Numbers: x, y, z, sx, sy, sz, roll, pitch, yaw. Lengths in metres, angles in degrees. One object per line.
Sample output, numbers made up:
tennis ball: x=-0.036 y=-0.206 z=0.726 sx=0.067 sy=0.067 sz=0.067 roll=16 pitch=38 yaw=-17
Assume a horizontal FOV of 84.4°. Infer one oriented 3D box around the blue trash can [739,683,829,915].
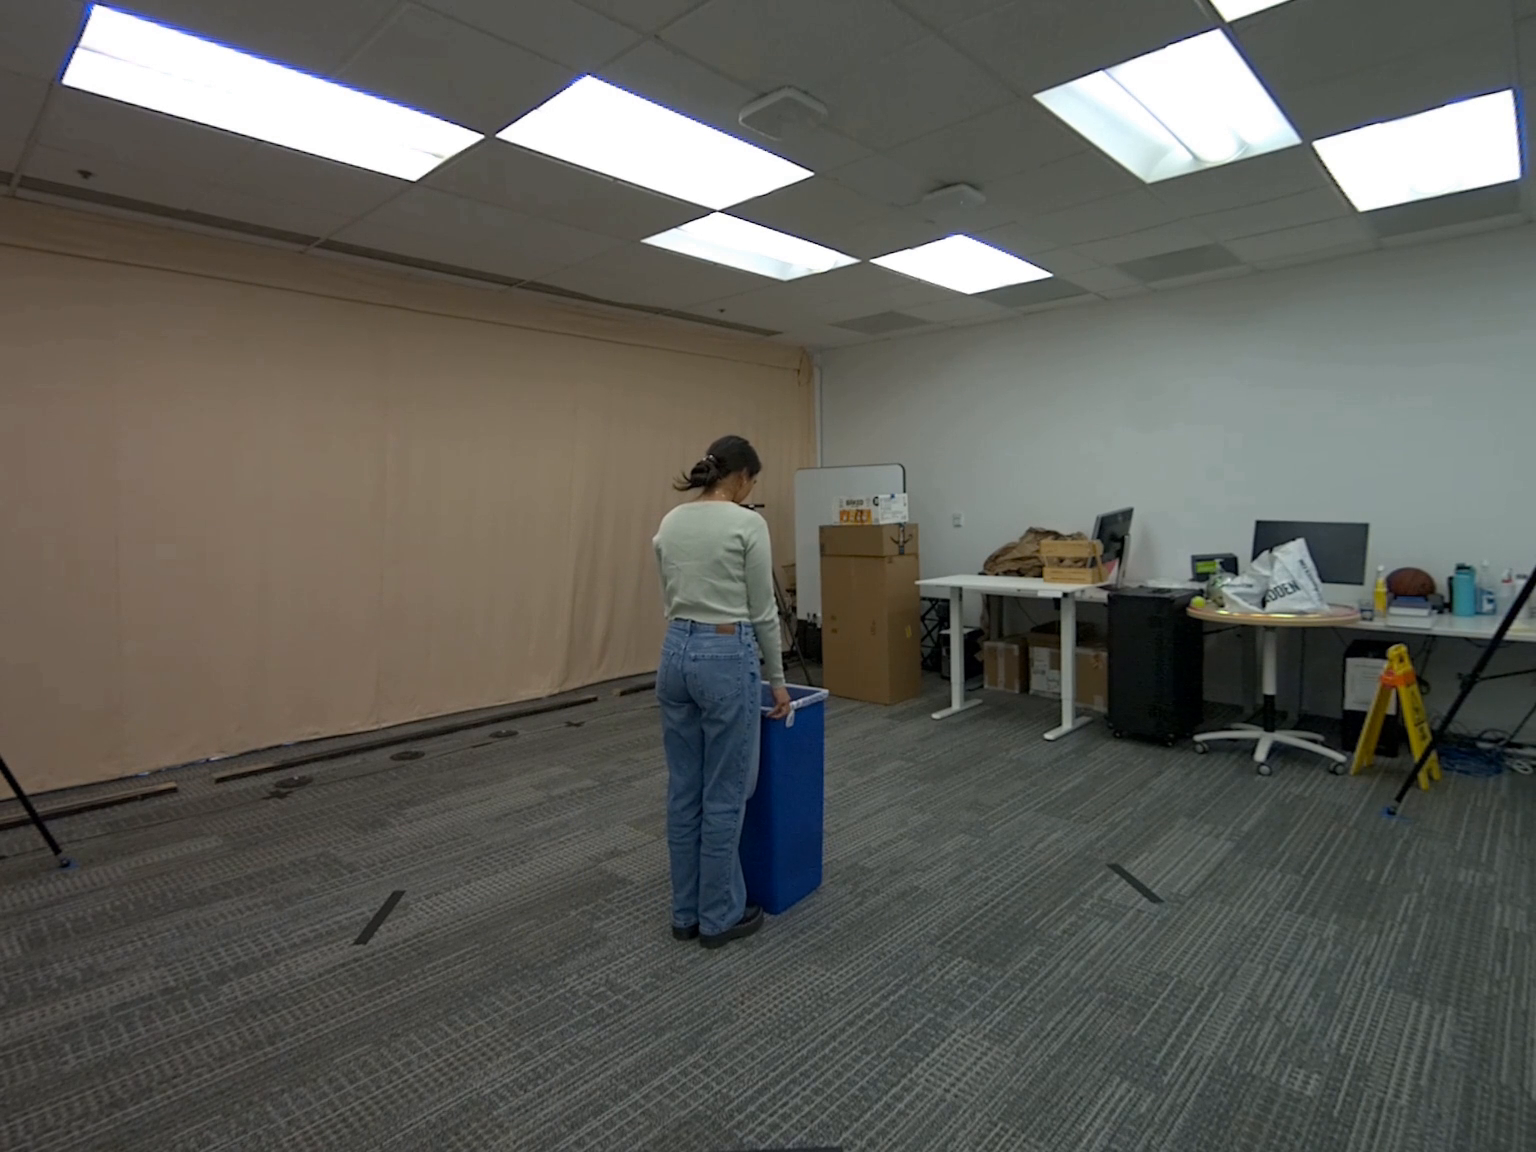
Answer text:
blue trash can: x=-0.018 y=0.777 z=3.038 sx=0.386 sy=0.712 sz=0.367 roll=2 pitch=4 yaw=37
